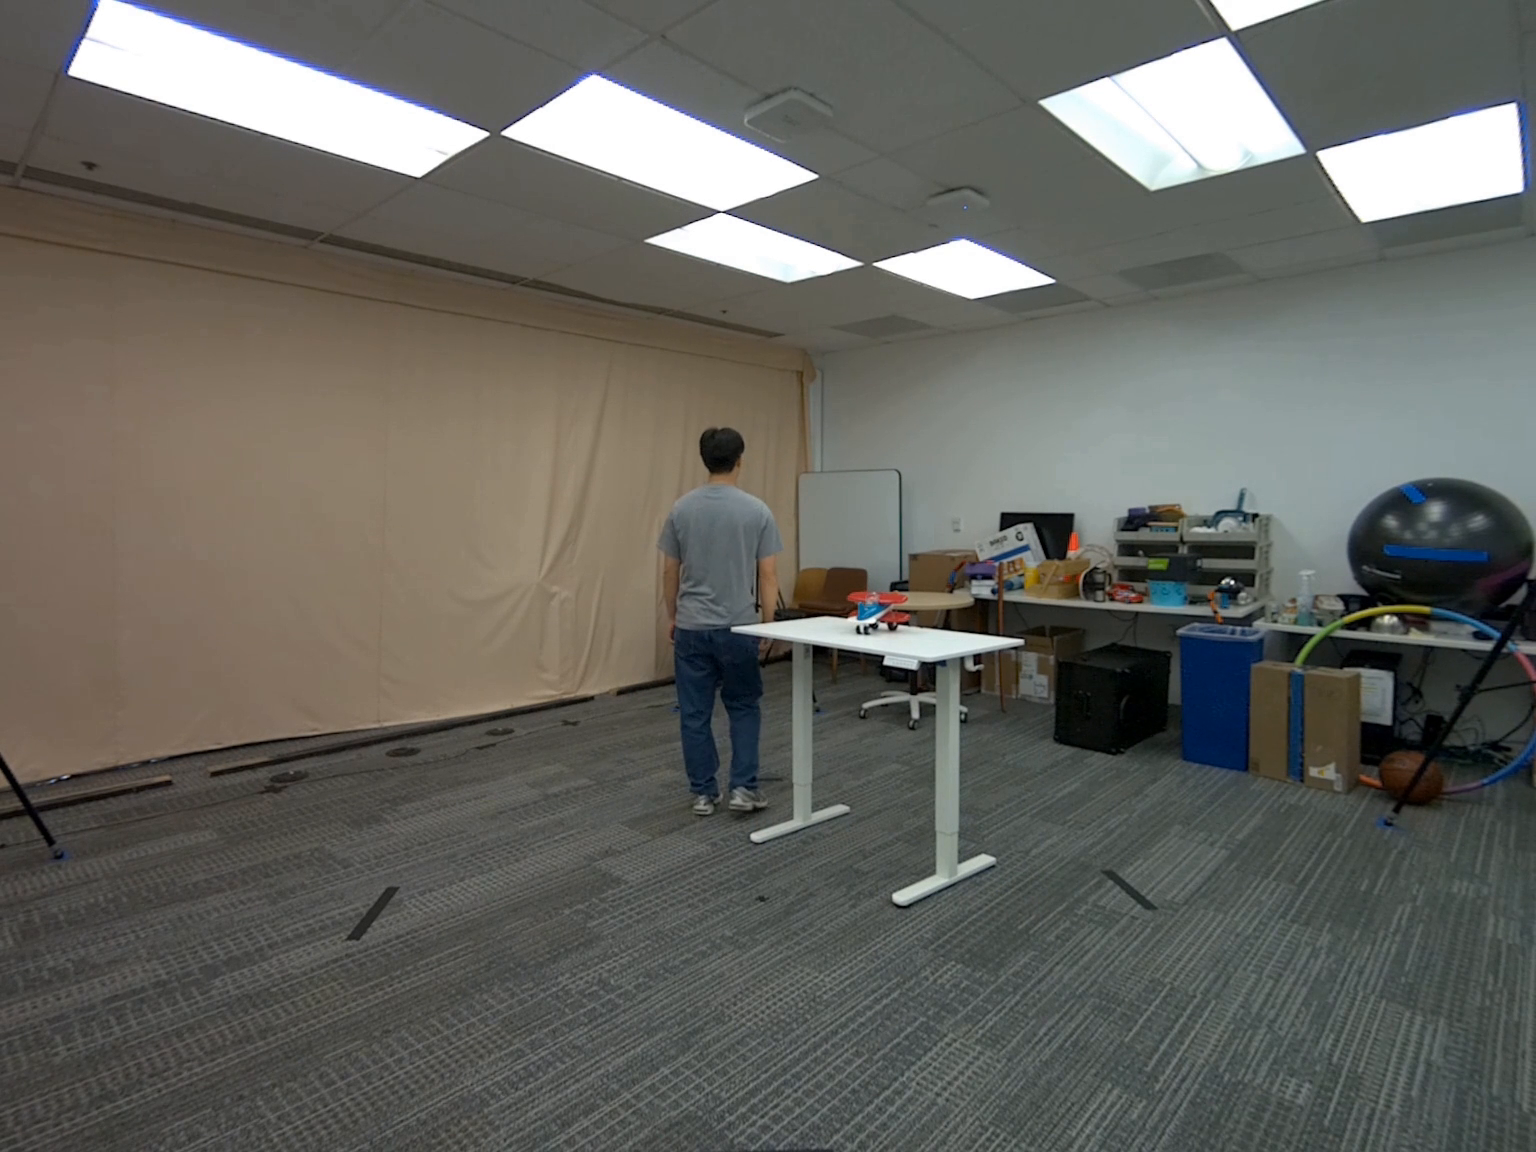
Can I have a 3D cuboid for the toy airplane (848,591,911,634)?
[{"bbox_3d":[0.448,0.150,3.390,0.253,0.156,0.257,0,2,8],"label":"toy airplane"}]
